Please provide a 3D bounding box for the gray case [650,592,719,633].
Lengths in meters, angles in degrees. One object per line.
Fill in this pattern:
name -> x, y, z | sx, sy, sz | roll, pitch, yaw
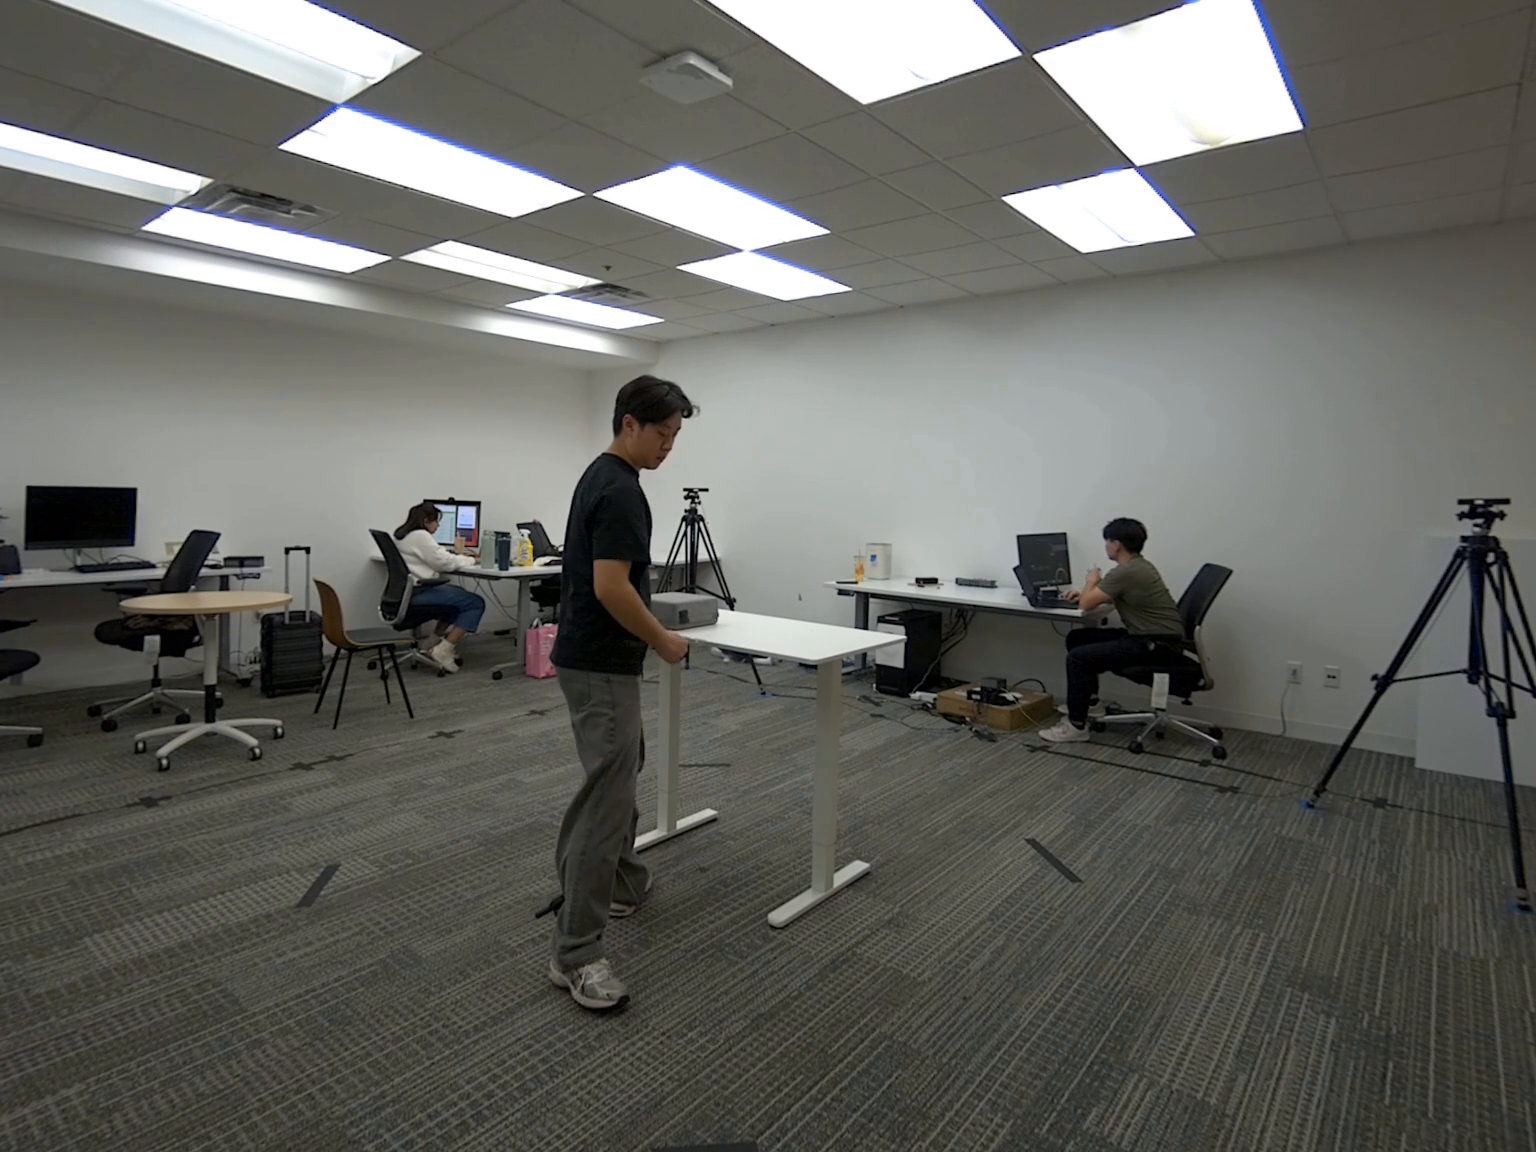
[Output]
gray case -> -0.358, 0.124, 3.181 | 0.269, 0.104, 0.250 | 5, 8, 38
